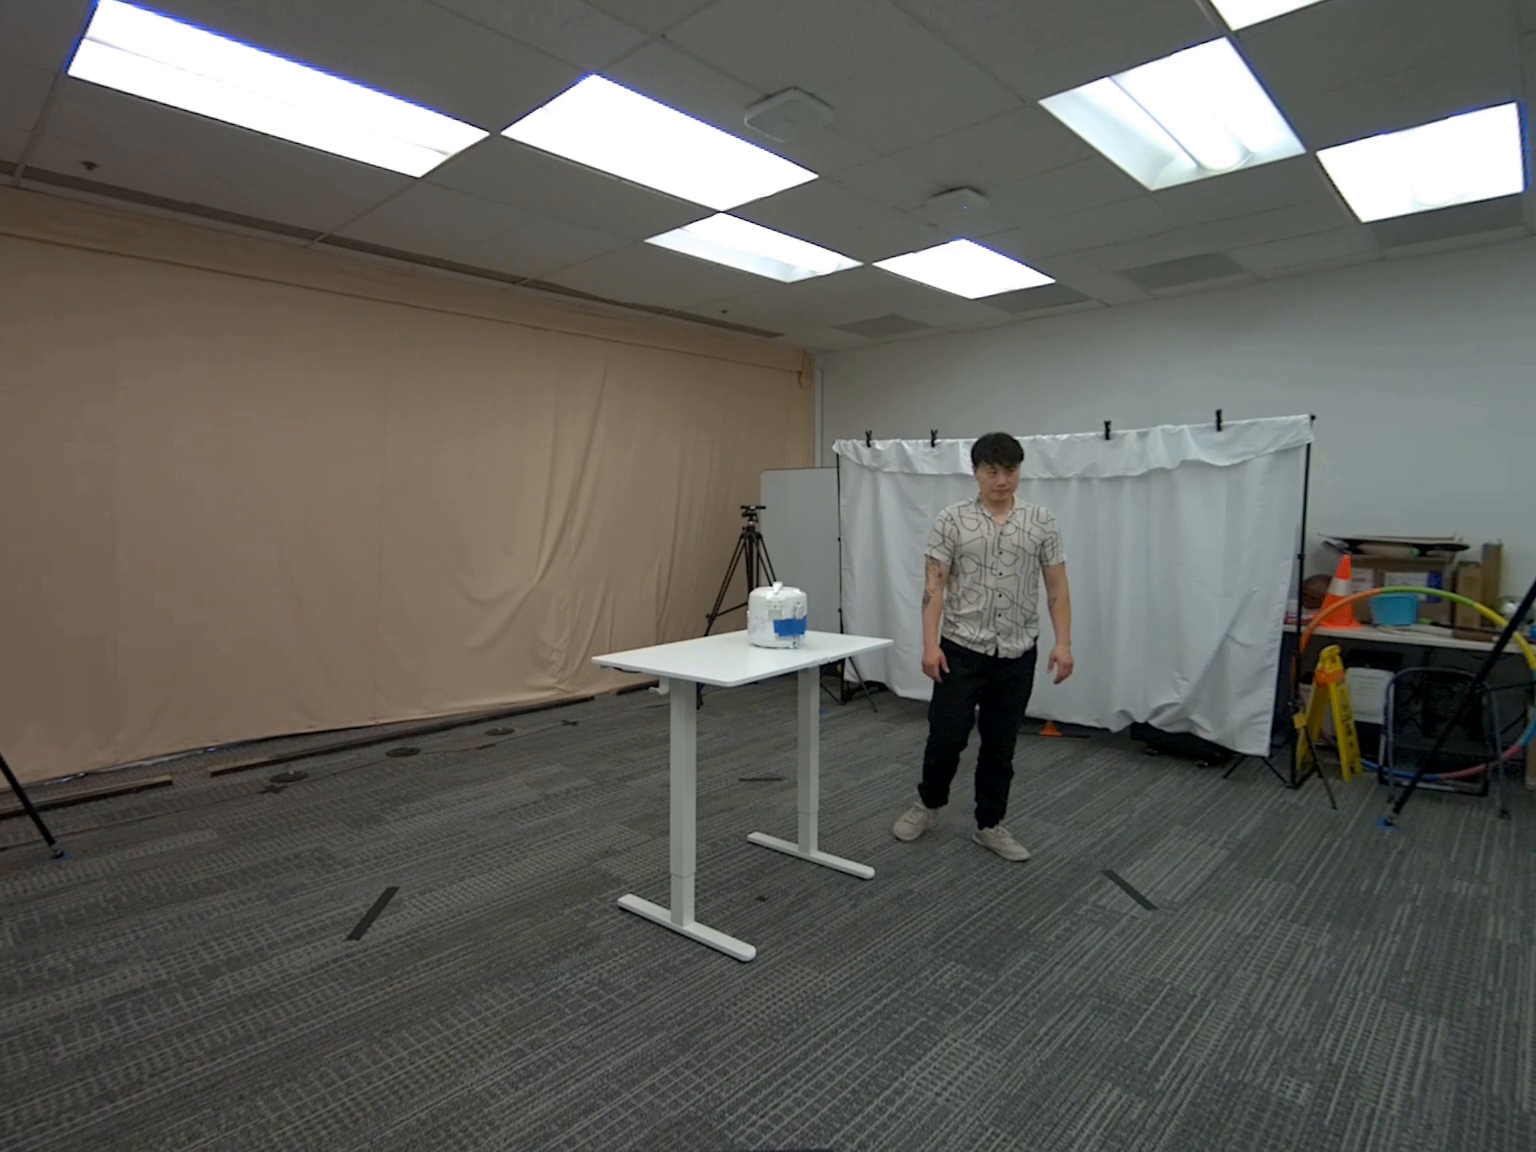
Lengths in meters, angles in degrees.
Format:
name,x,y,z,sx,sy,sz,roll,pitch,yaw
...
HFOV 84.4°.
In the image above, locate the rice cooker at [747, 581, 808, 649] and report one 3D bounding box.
name,x,y,z,sx,sy,sz,roll,pitch,yaw
rice cooker,0.037,0.136,3.073,0.219,0.232,0.219,1,3,7
